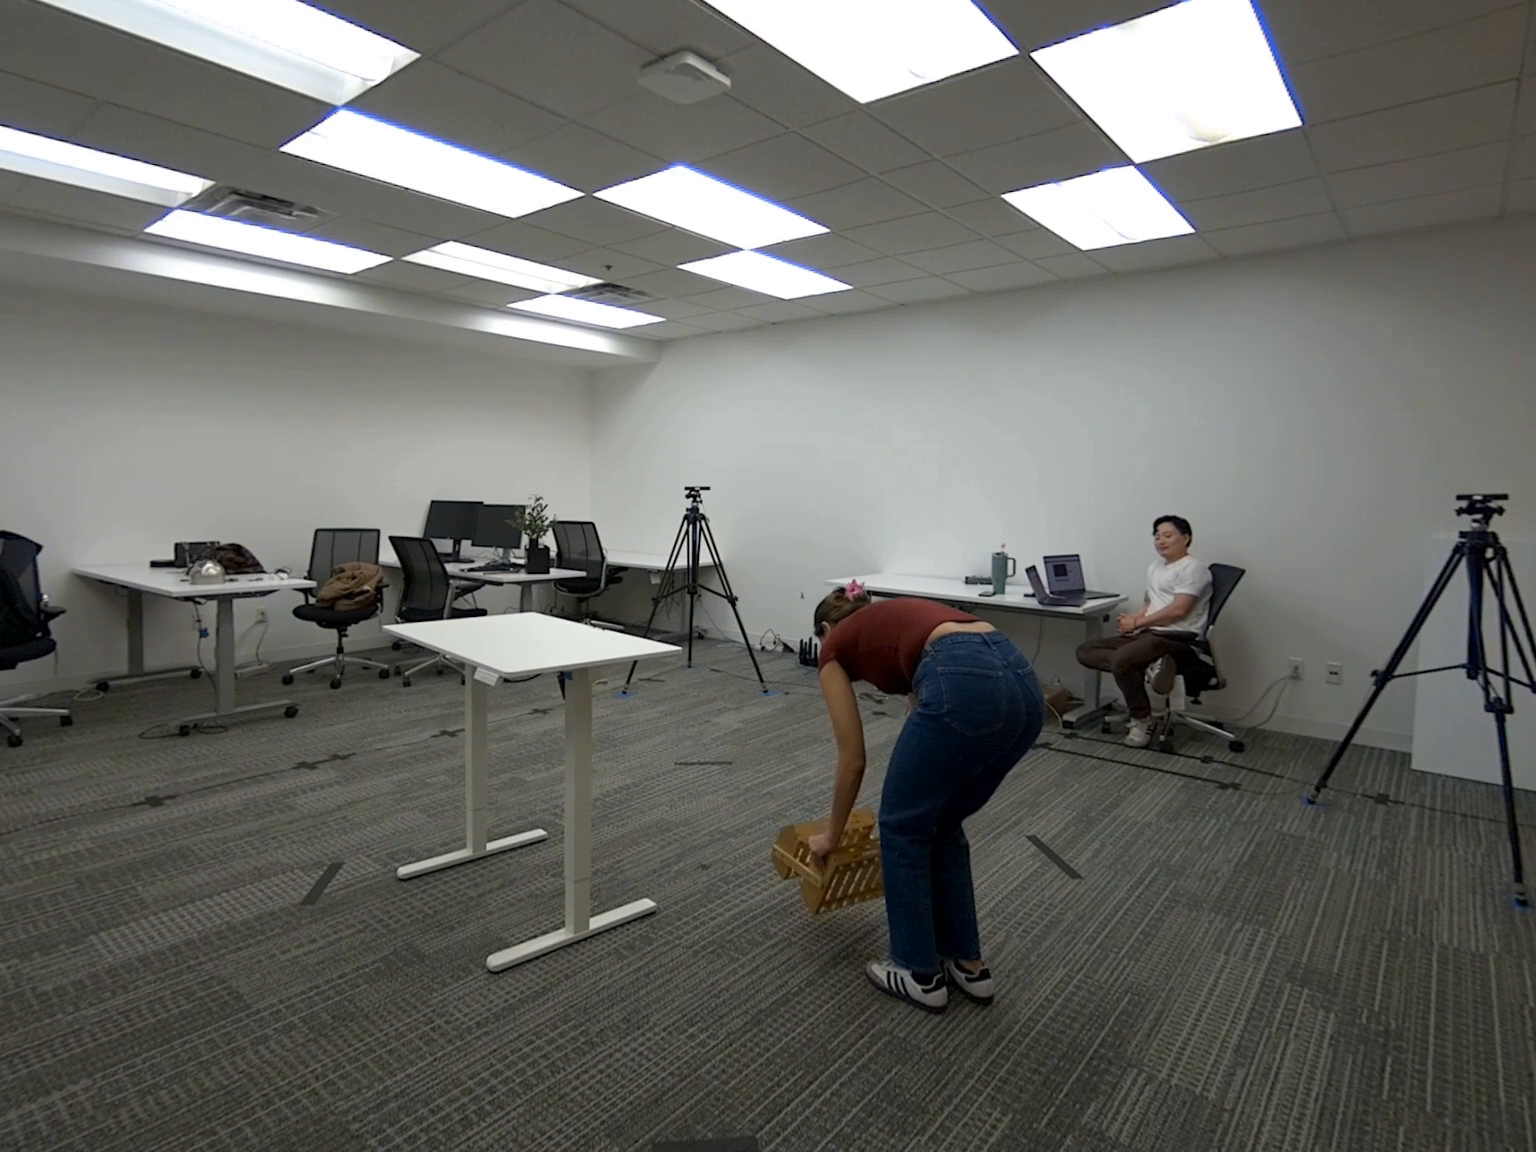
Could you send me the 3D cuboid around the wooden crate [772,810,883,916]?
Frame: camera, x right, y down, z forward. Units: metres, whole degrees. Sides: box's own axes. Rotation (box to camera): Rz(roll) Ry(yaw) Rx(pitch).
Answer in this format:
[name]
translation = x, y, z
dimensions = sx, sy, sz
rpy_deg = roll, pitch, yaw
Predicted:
[wooden crate]
translation = 0.215, 0.843, 2.696
dimensions = 0.316, 0.297, 0.285
rpy_deg = -2, 34, -29
